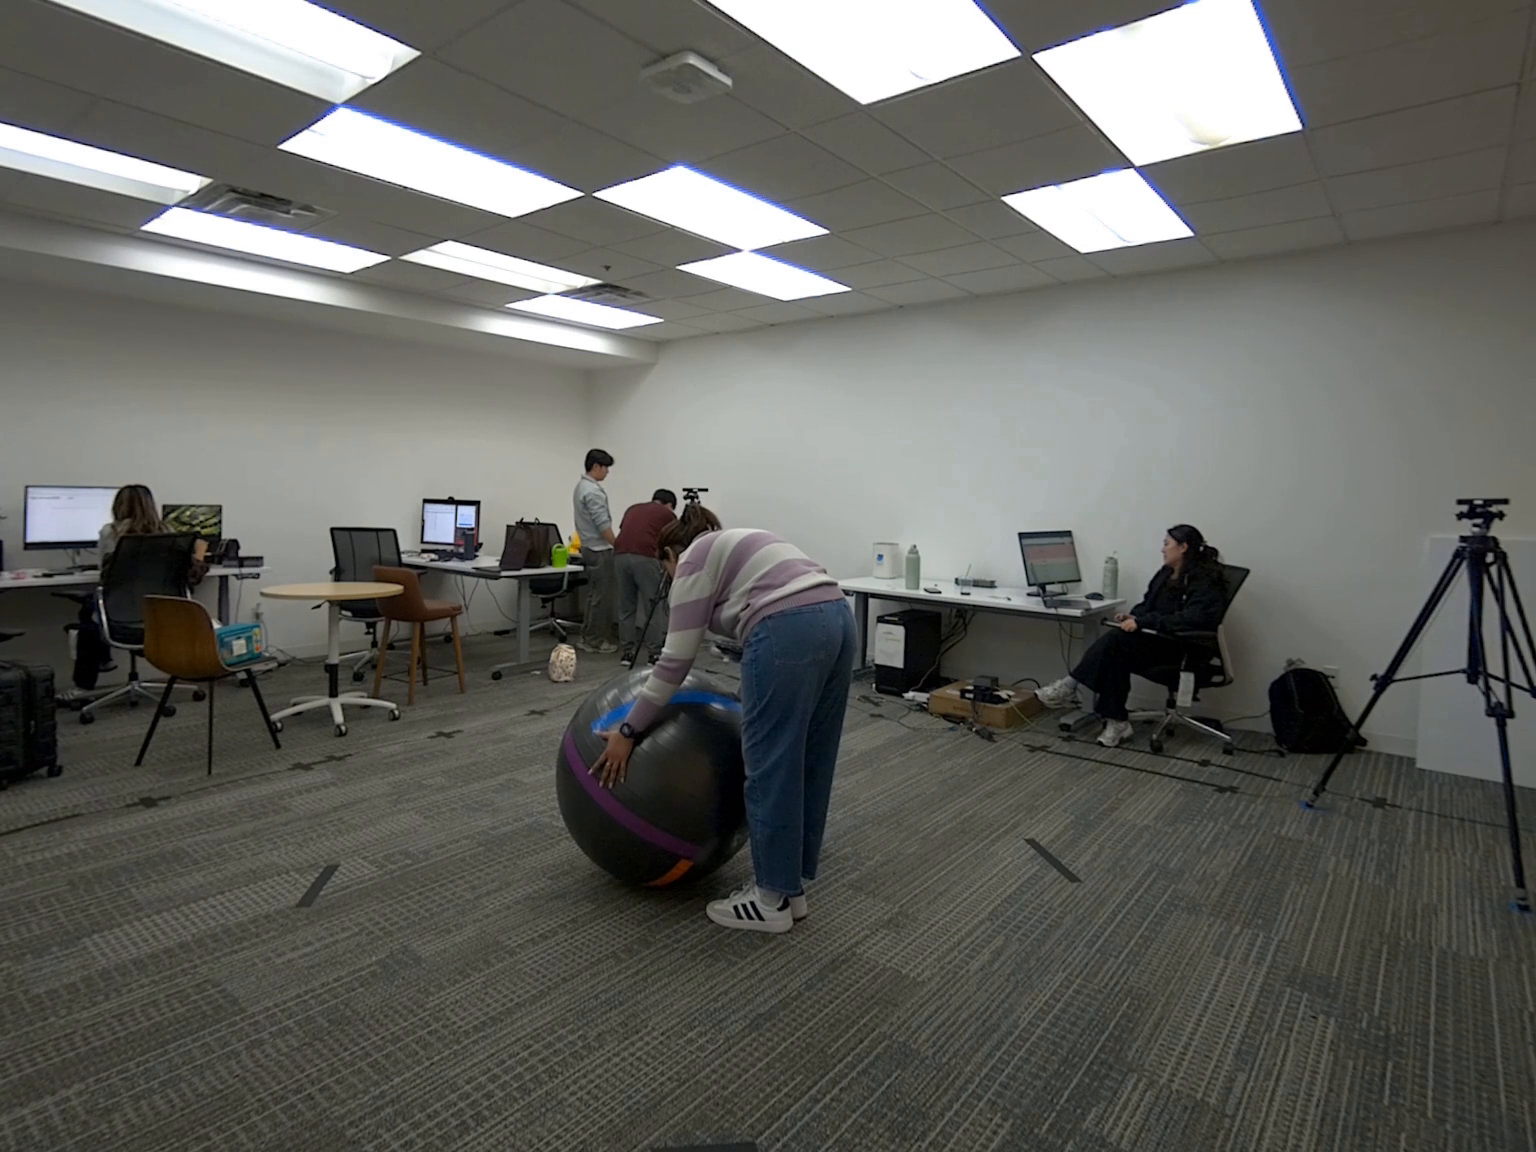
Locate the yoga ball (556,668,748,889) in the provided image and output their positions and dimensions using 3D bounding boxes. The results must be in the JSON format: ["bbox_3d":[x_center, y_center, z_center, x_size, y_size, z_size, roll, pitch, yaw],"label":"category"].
[{"bbox_3d":[-0.379,0.705,3.047,0.757,0.755,0.762,1,4,-2],"label":"yoga ball"}]
